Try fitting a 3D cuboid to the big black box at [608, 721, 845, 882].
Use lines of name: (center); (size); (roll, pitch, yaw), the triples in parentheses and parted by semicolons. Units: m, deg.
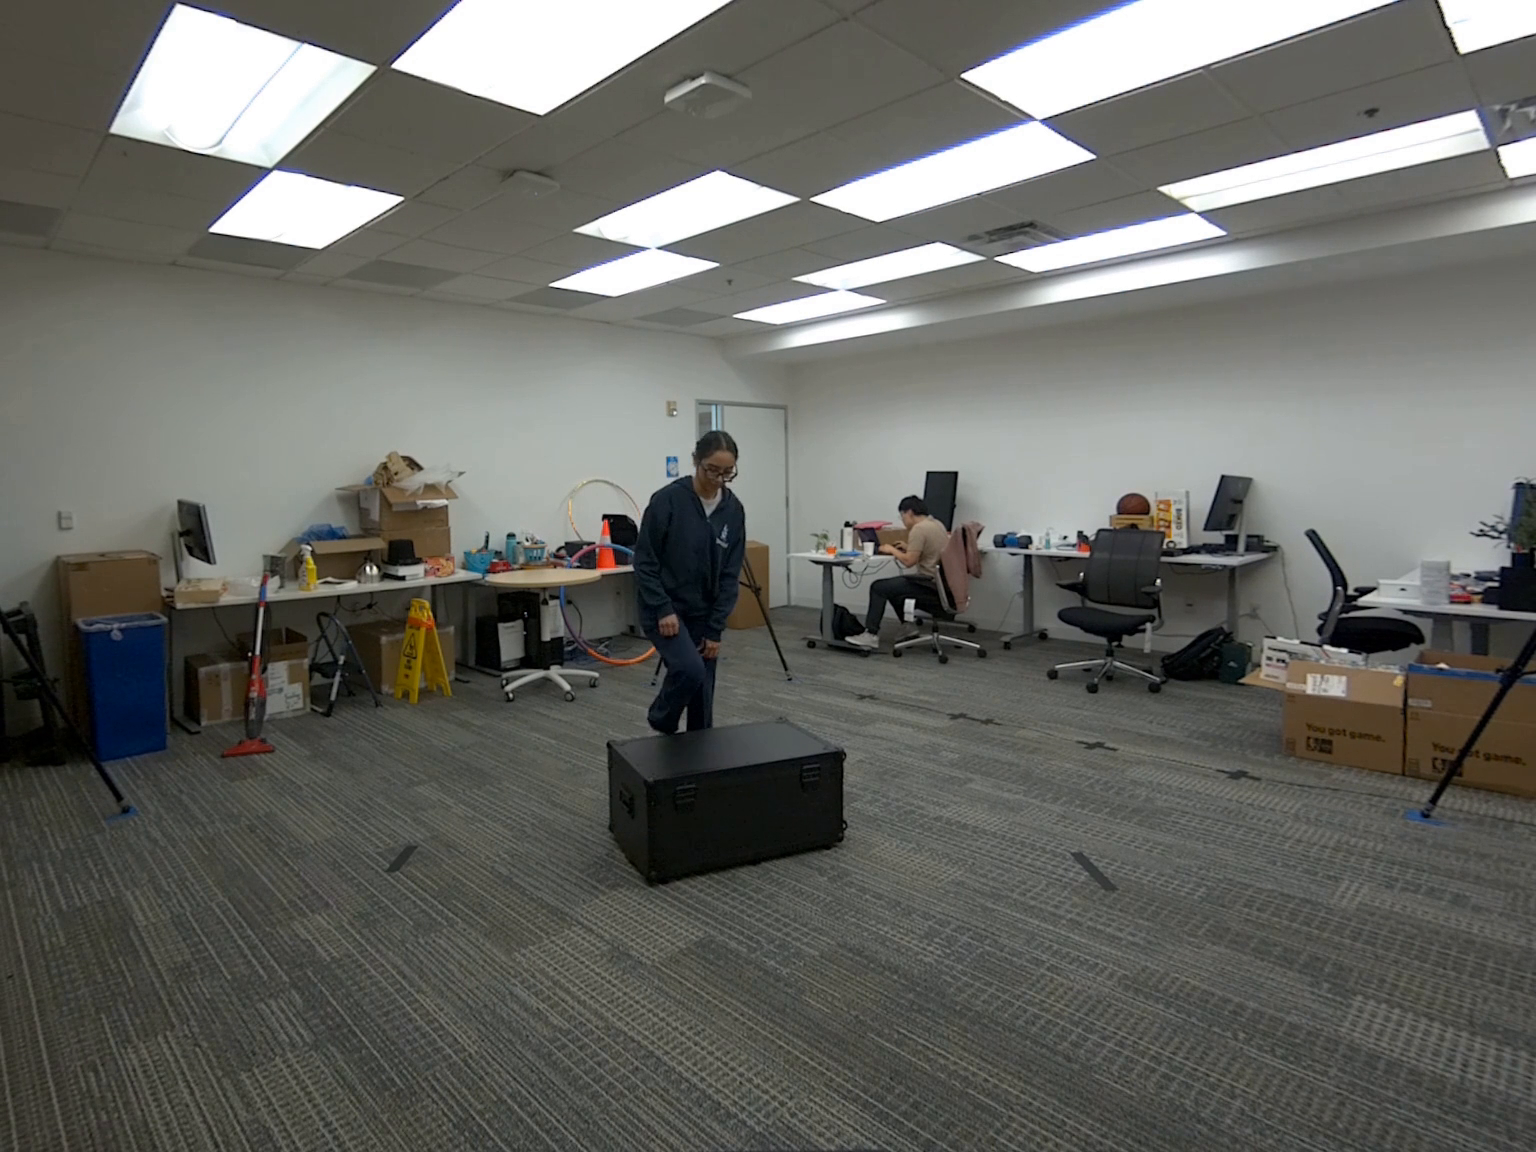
big black box: (-0.143, 0.853, 3.298); (0.843, 0.519, 0.407); (-3, 6, -25)
